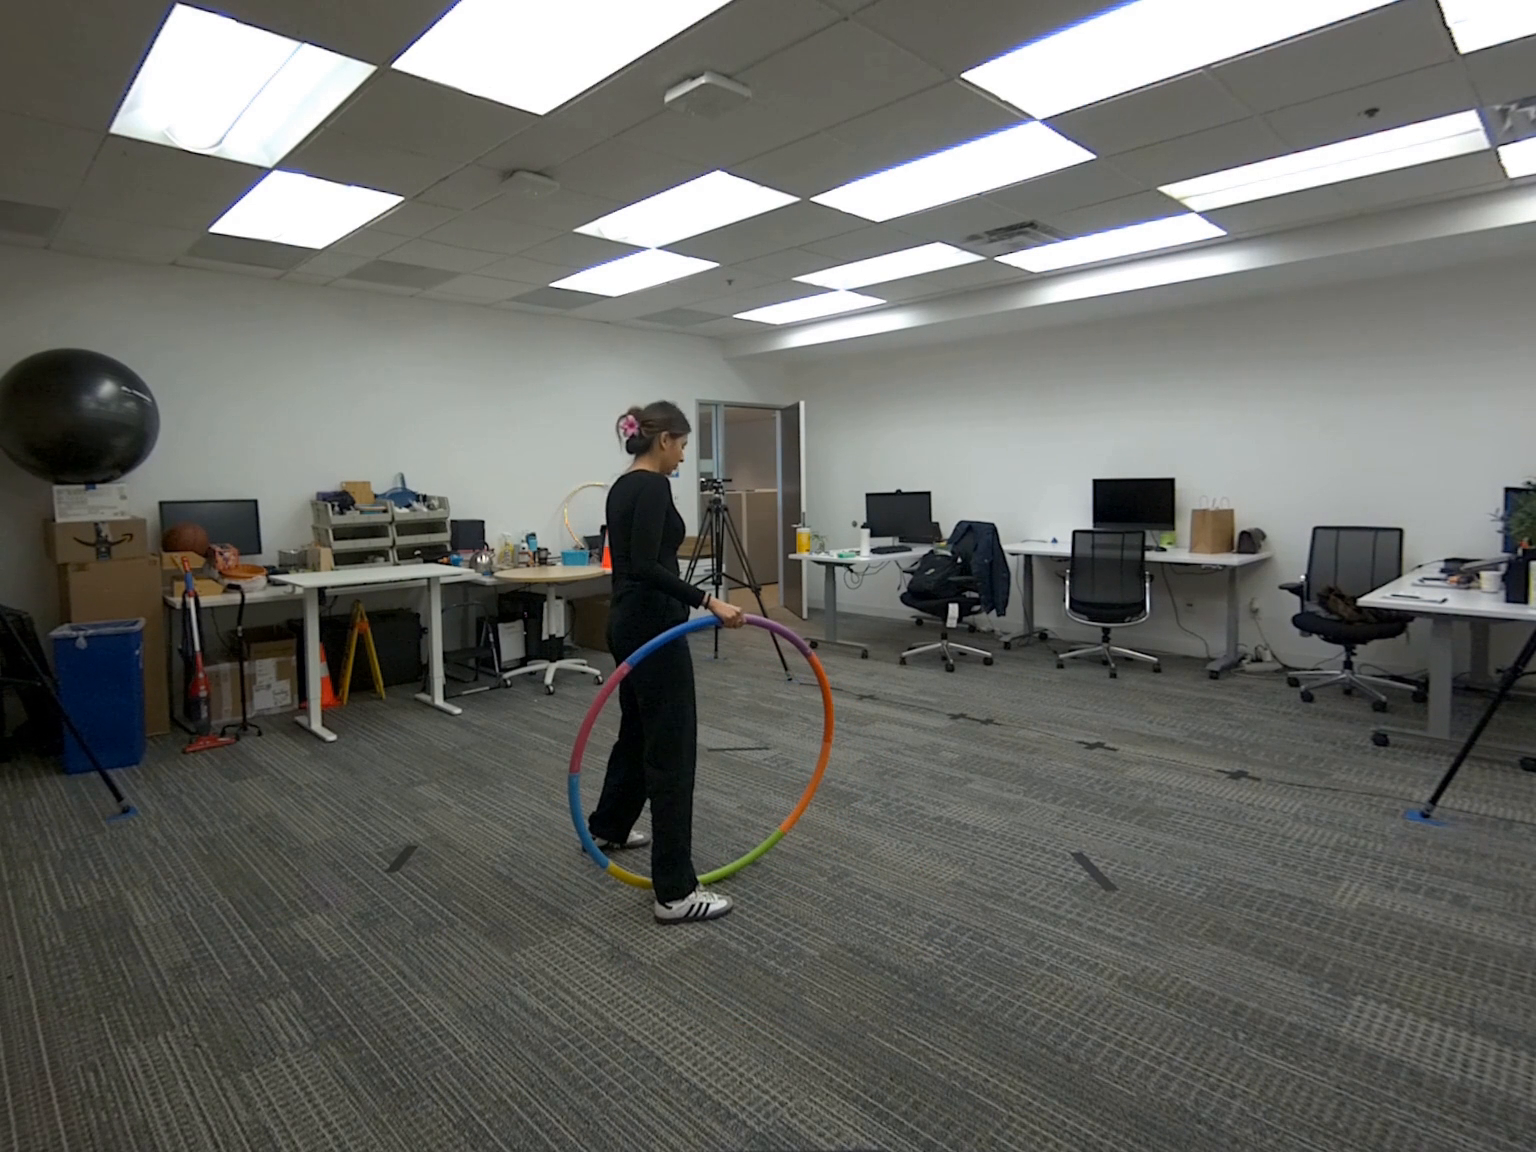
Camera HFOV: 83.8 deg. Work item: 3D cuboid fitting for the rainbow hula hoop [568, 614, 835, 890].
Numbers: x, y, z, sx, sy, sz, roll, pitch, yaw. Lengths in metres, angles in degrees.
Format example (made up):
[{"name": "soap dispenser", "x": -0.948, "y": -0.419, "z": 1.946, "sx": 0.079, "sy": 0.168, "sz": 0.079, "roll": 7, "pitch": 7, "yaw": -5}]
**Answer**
[{"name": "rainbow hula hoop", "x": -0.195, "y": 0.590, "z": 2.861, "sx": 0.956, "sy": 0.969, "sz": 0.037, "roll": -4, "pitch": 13, "yaw": -30}]
